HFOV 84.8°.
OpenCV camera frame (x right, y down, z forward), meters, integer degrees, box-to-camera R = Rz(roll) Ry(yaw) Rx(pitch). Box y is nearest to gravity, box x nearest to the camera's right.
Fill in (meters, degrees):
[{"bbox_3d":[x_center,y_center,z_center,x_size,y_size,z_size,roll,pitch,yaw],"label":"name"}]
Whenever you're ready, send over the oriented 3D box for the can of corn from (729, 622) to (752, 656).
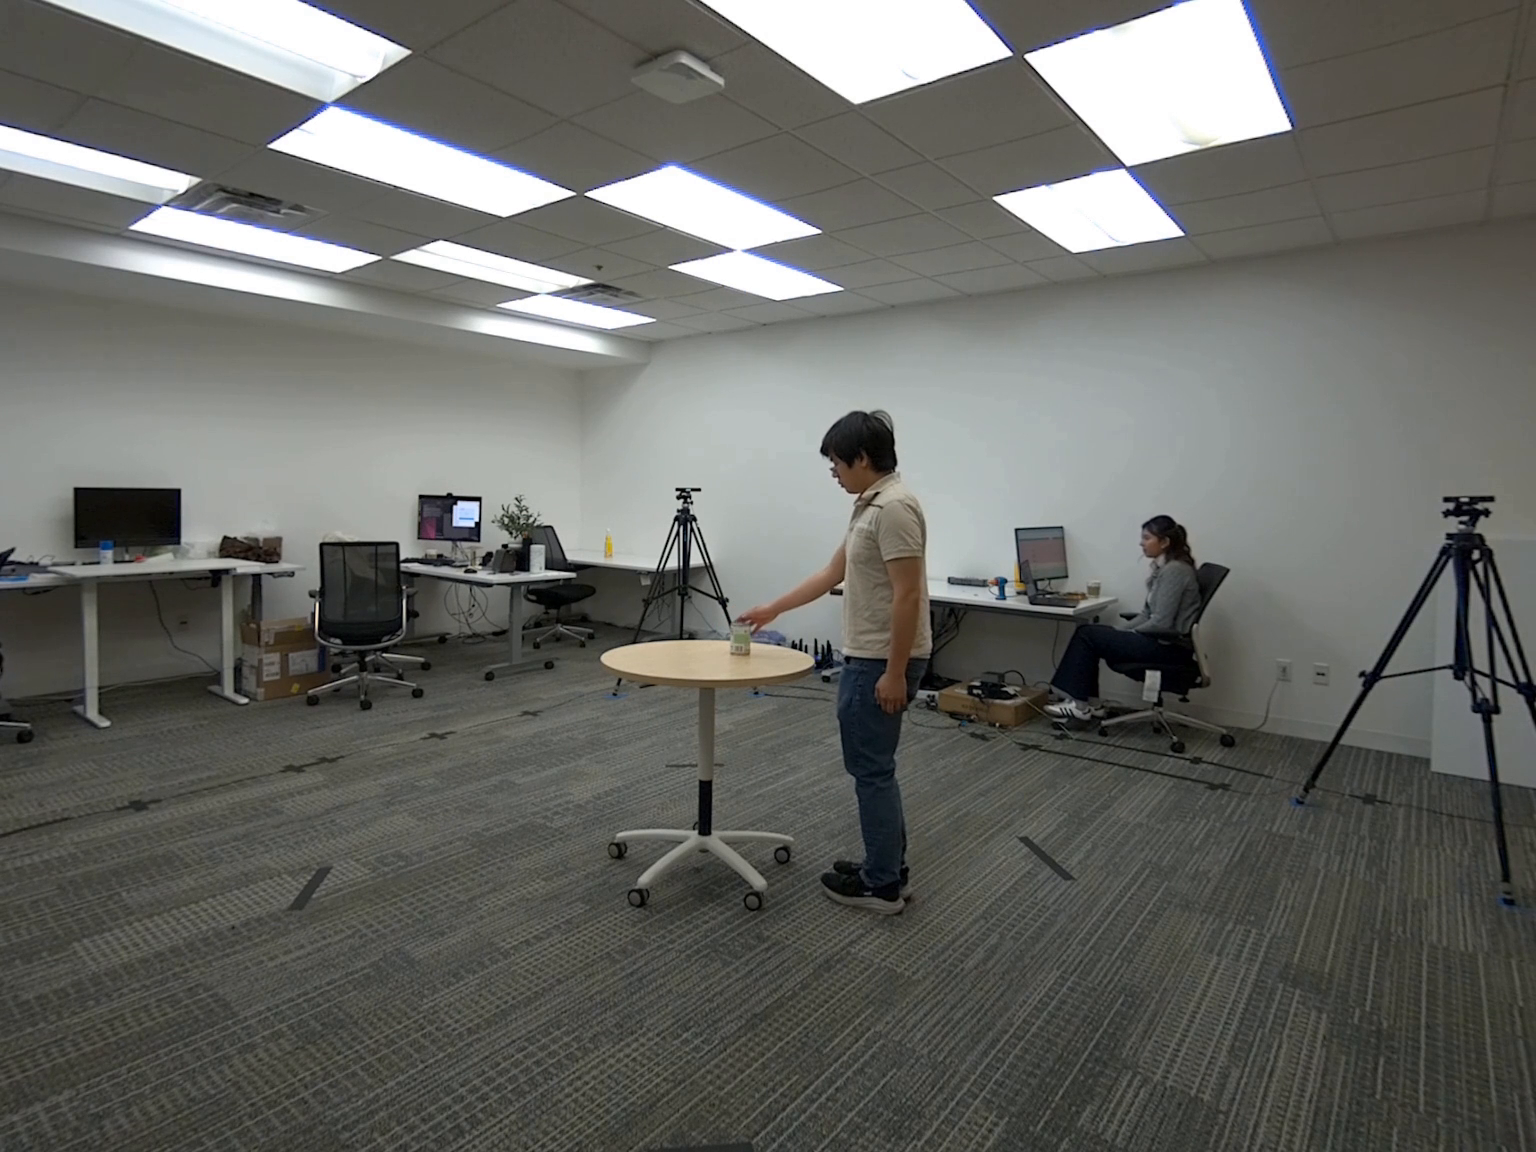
[{"bbox_3d":[-0.110,0.229,3.141,0.074,0.111,0.074,3,1,-2],"label":"can of corn"}]
